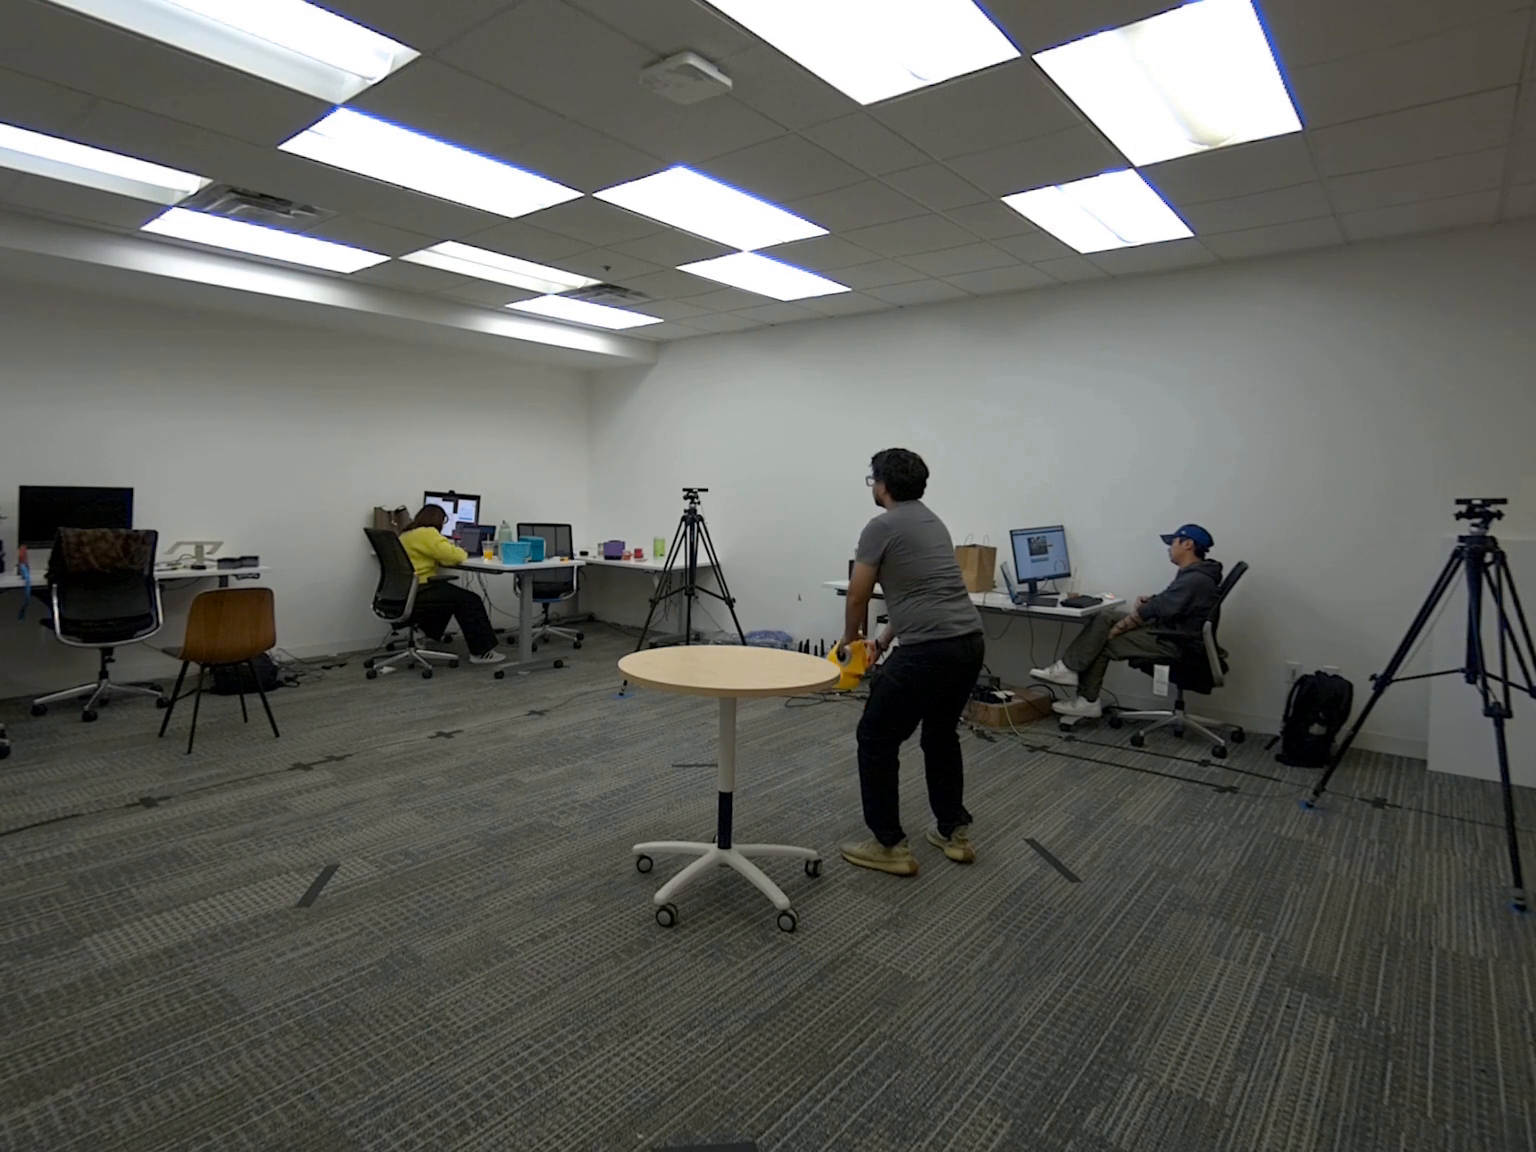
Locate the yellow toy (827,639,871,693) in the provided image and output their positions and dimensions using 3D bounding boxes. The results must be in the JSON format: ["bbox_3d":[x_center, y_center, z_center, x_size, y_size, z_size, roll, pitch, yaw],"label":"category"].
[{"bbox_3d":[0.327,0.326,3.660,0.196,0.228,0.205,7,15,10],"label":"yellow toy"}]
